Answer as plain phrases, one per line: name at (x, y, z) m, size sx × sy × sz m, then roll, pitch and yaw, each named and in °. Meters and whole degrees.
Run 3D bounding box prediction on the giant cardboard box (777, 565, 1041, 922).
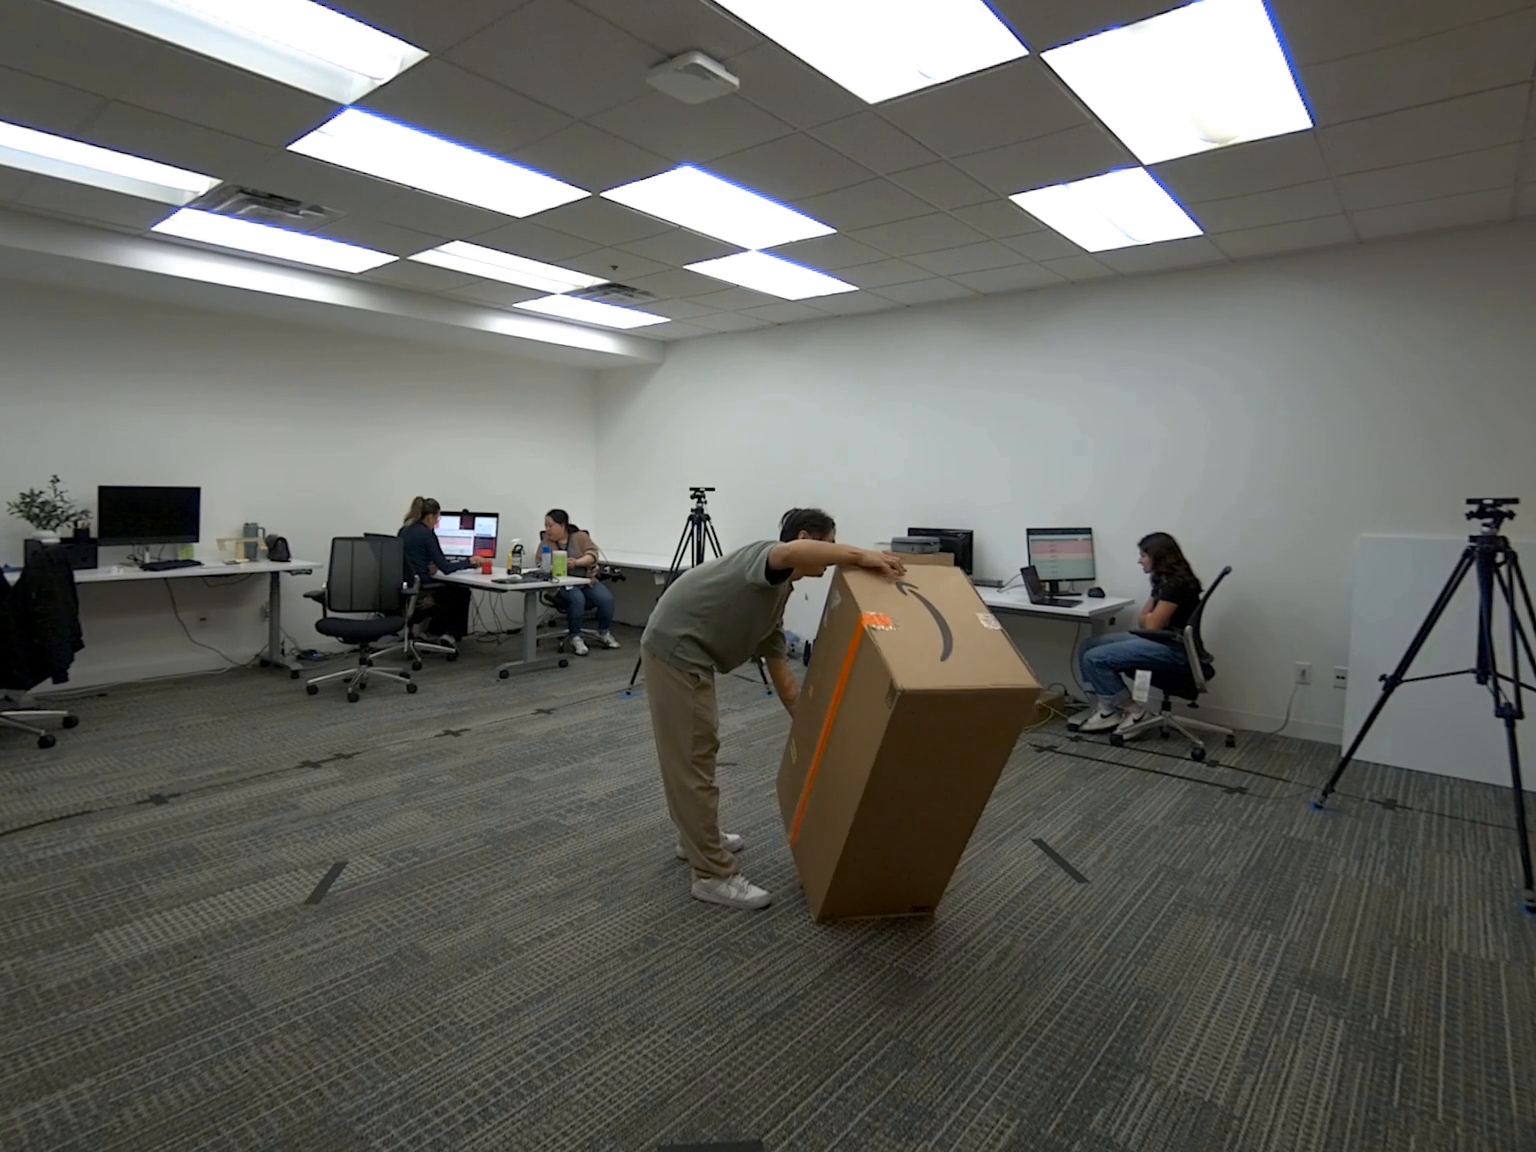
giant cardboard box at (0.372, 0.539, 2.727) m, size 0.420 × 1.005 × 0.598 m, roll 2°, pitch 34°, yaw -15°
